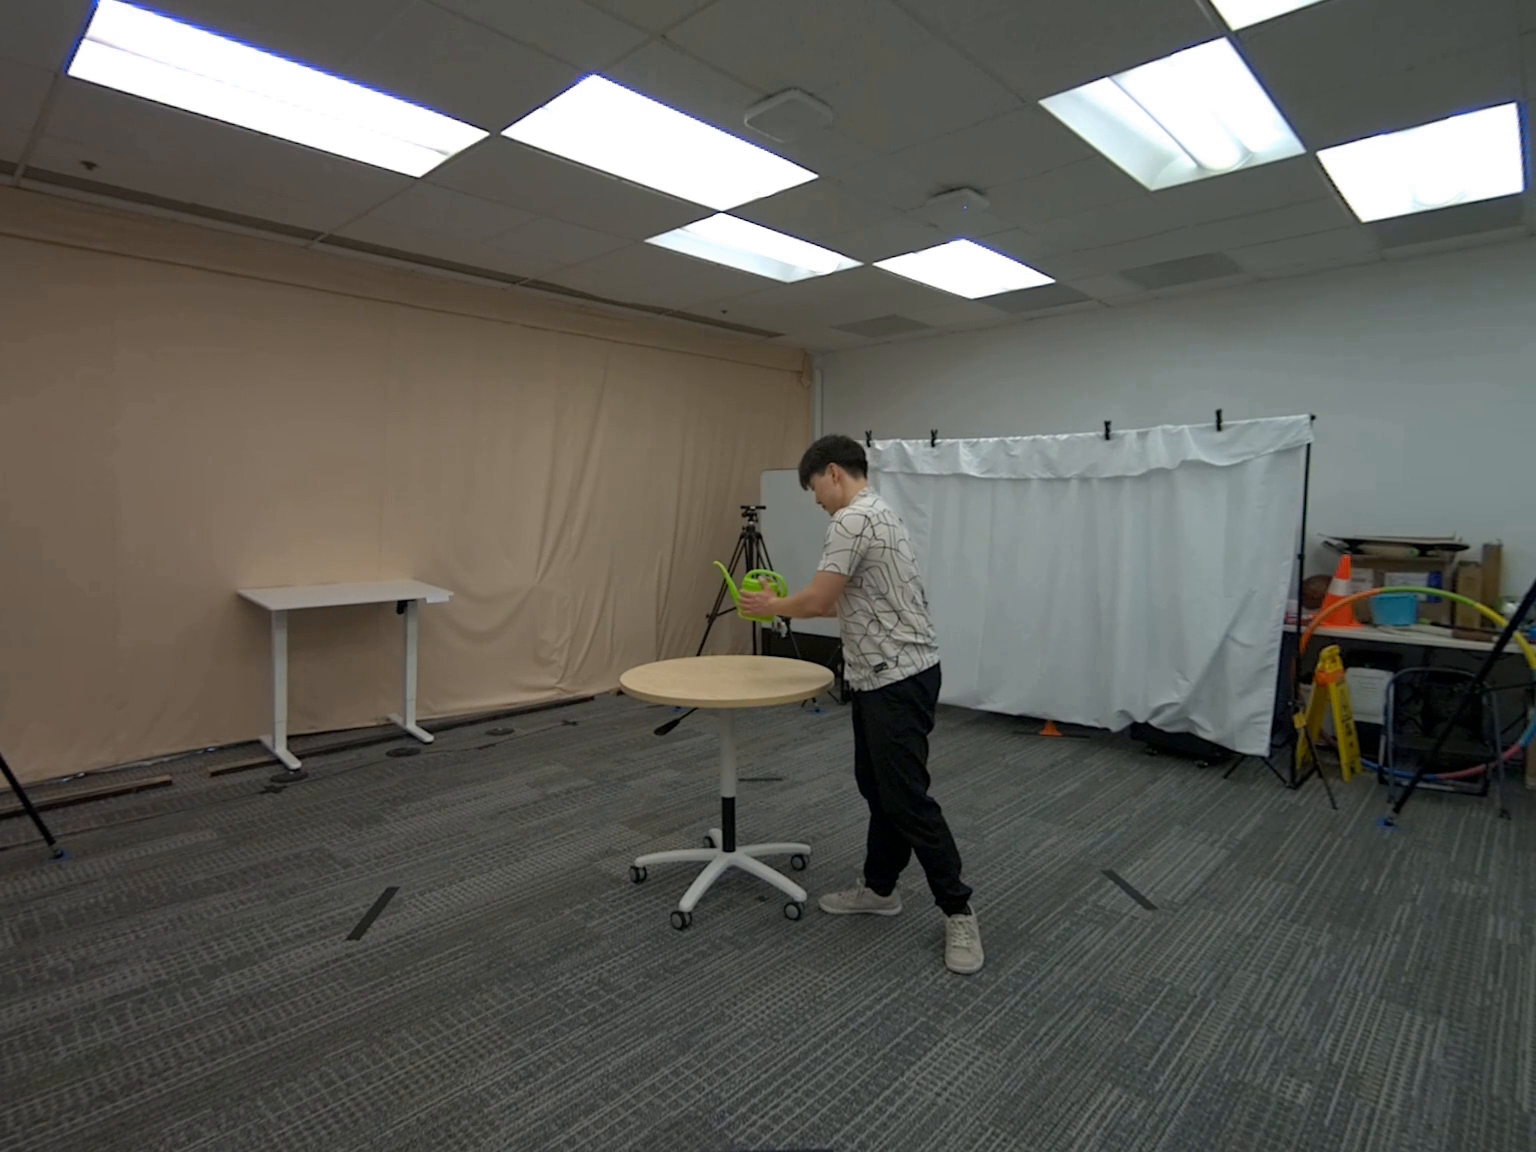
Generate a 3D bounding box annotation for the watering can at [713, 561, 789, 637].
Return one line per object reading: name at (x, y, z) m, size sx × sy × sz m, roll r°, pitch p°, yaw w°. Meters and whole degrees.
watering can at (-0.057, 0.066, 2.959) m, size 0.286 × 0.176 × 0.095 m, roll 10°, pitch 2°, yaw 26°
